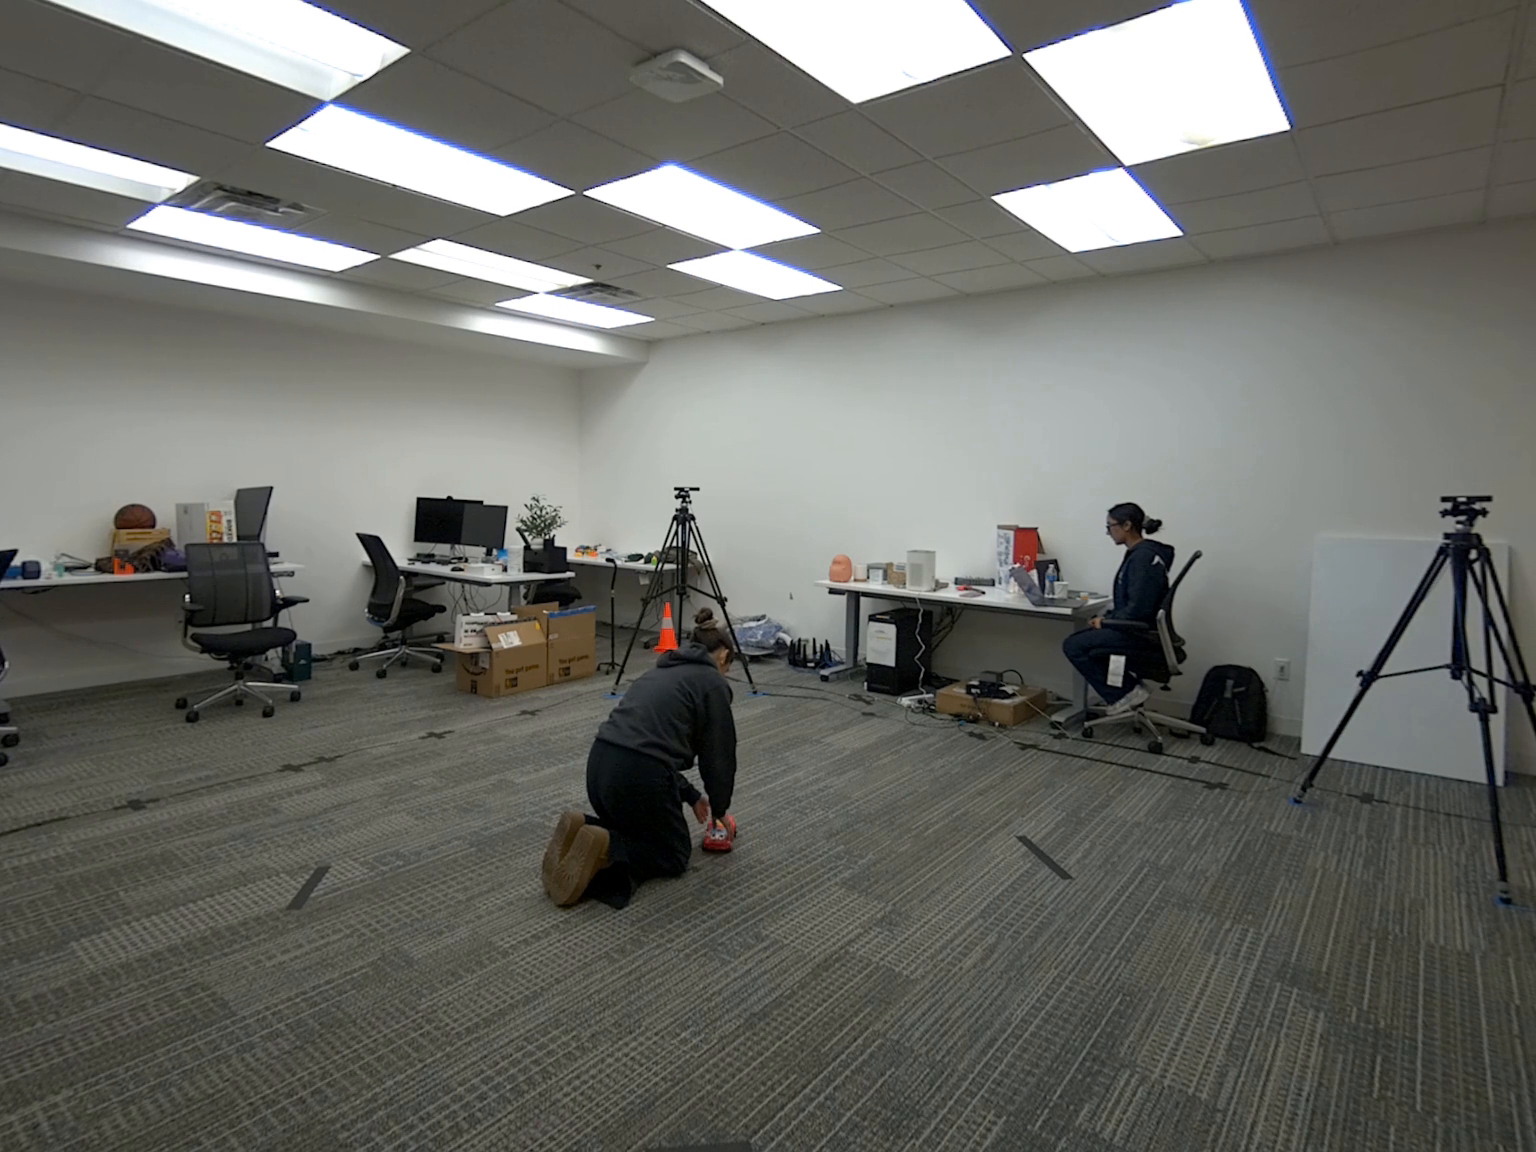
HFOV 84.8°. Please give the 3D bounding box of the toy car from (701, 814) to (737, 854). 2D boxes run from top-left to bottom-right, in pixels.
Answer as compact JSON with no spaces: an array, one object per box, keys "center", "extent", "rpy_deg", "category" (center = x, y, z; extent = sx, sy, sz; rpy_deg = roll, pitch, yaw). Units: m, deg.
[{"center":[-0.193,1.011,3.358],"extent":[0.131,0.082,0.256],"rpy_deg":[2,18,5],"category":"toy car"}]
